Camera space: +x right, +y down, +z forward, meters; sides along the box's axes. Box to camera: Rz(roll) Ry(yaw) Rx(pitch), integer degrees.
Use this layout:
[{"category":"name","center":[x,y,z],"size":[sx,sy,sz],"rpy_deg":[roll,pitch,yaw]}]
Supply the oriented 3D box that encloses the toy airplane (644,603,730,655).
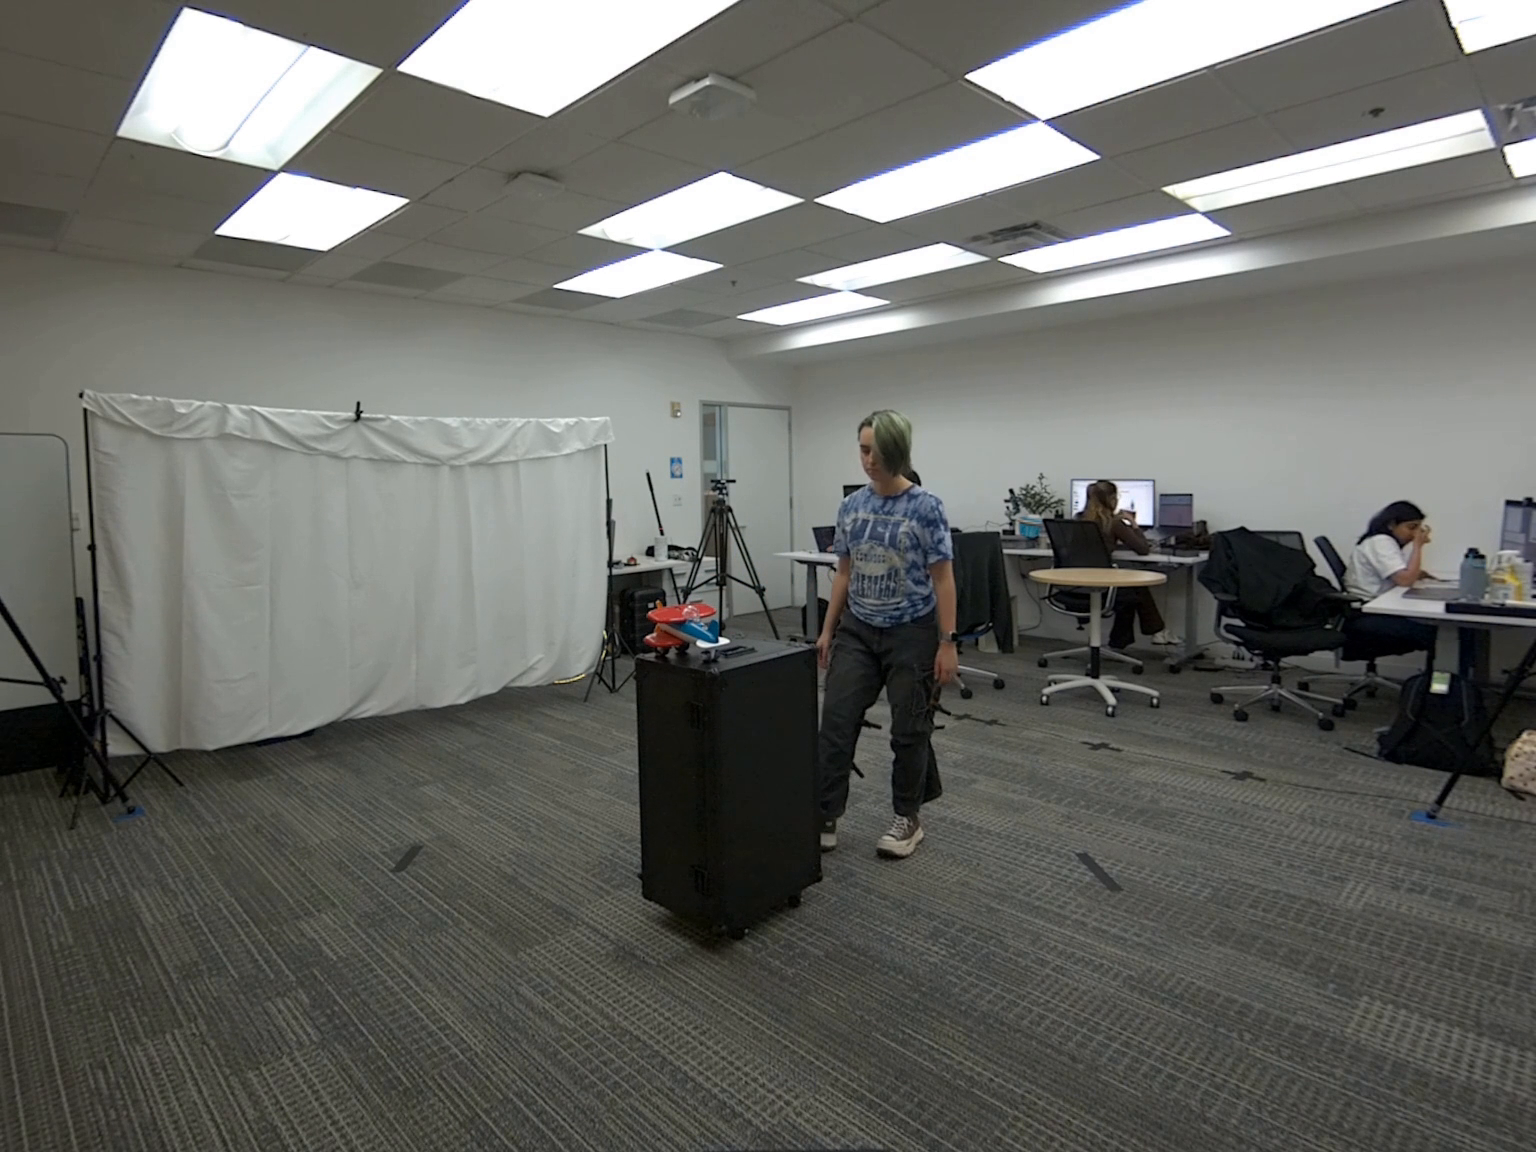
[{"category":"toy airplane","center":[-0.223,0.177,2.666],"size":[0.263,0.156,0.248],"rpy_deg":[0,4,15]}]
